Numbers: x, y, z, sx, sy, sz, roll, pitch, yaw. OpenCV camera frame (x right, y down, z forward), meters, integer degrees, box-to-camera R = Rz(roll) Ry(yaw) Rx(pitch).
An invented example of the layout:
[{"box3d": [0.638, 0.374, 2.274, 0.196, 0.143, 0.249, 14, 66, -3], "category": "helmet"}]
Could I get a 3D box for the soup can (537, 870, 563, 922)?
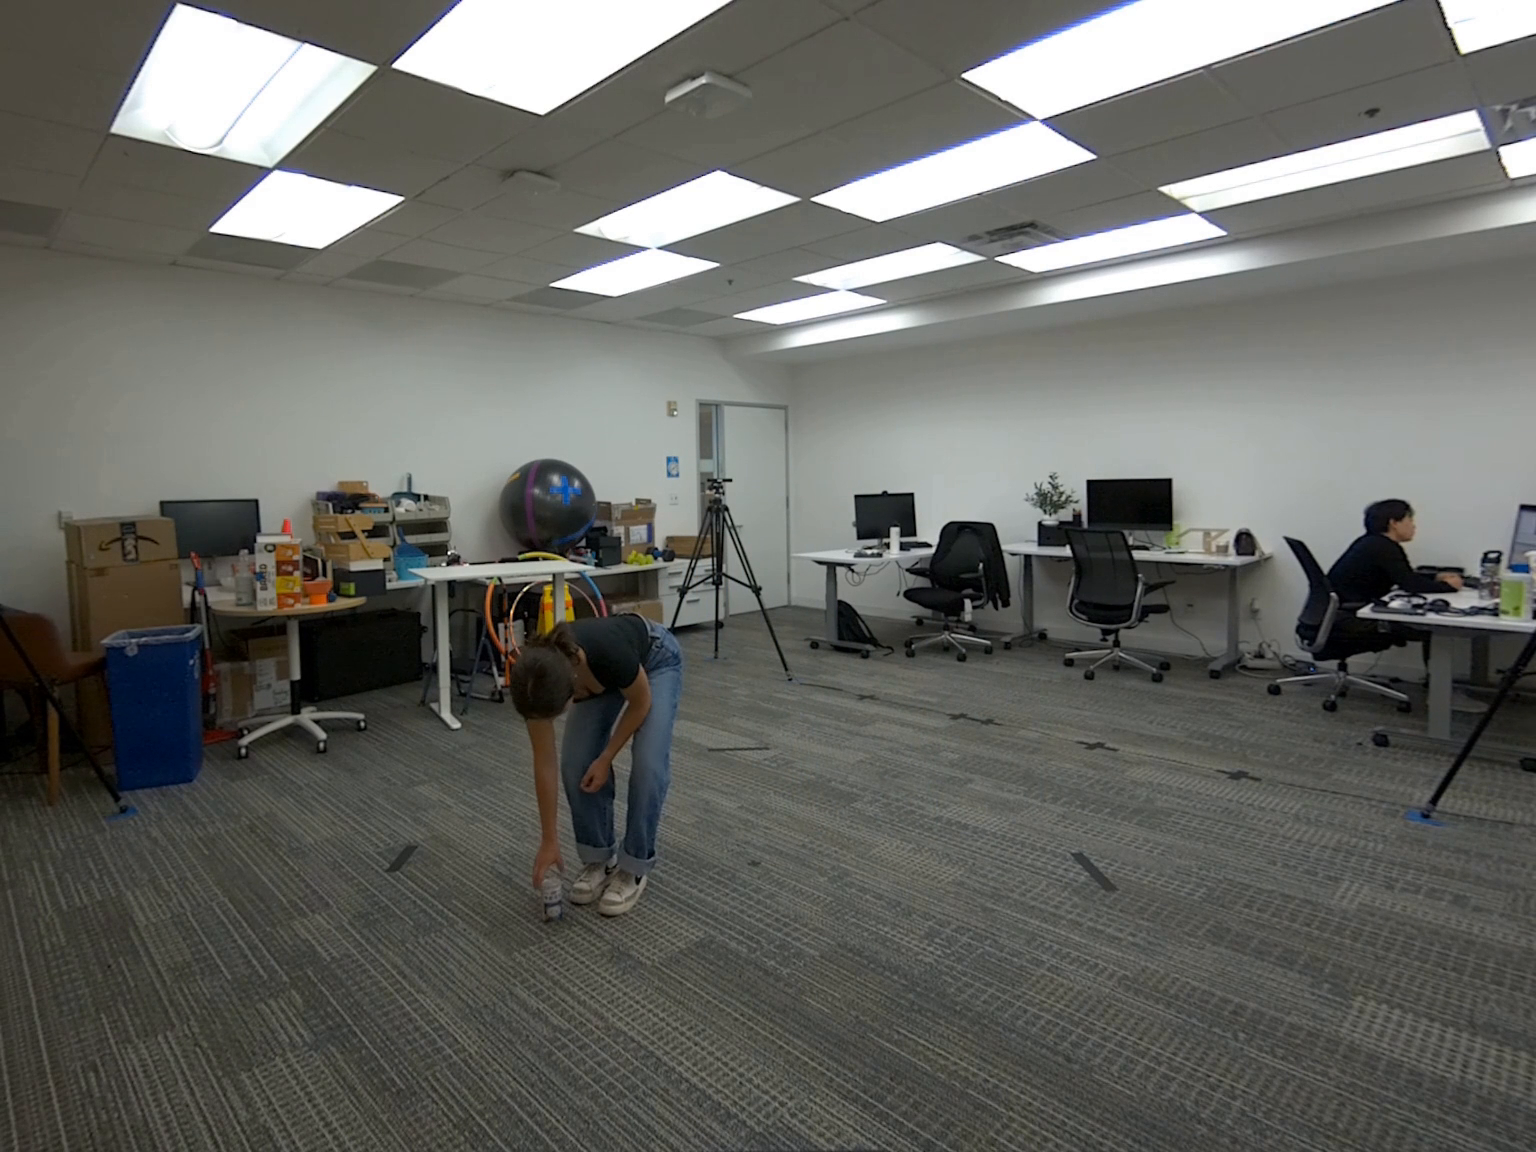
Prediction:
[{"box3d": [-0.695, 1.043, 2.741, 0.067, 0.121, 0.067, -2, 4, -1], "category": "soup can"}]
